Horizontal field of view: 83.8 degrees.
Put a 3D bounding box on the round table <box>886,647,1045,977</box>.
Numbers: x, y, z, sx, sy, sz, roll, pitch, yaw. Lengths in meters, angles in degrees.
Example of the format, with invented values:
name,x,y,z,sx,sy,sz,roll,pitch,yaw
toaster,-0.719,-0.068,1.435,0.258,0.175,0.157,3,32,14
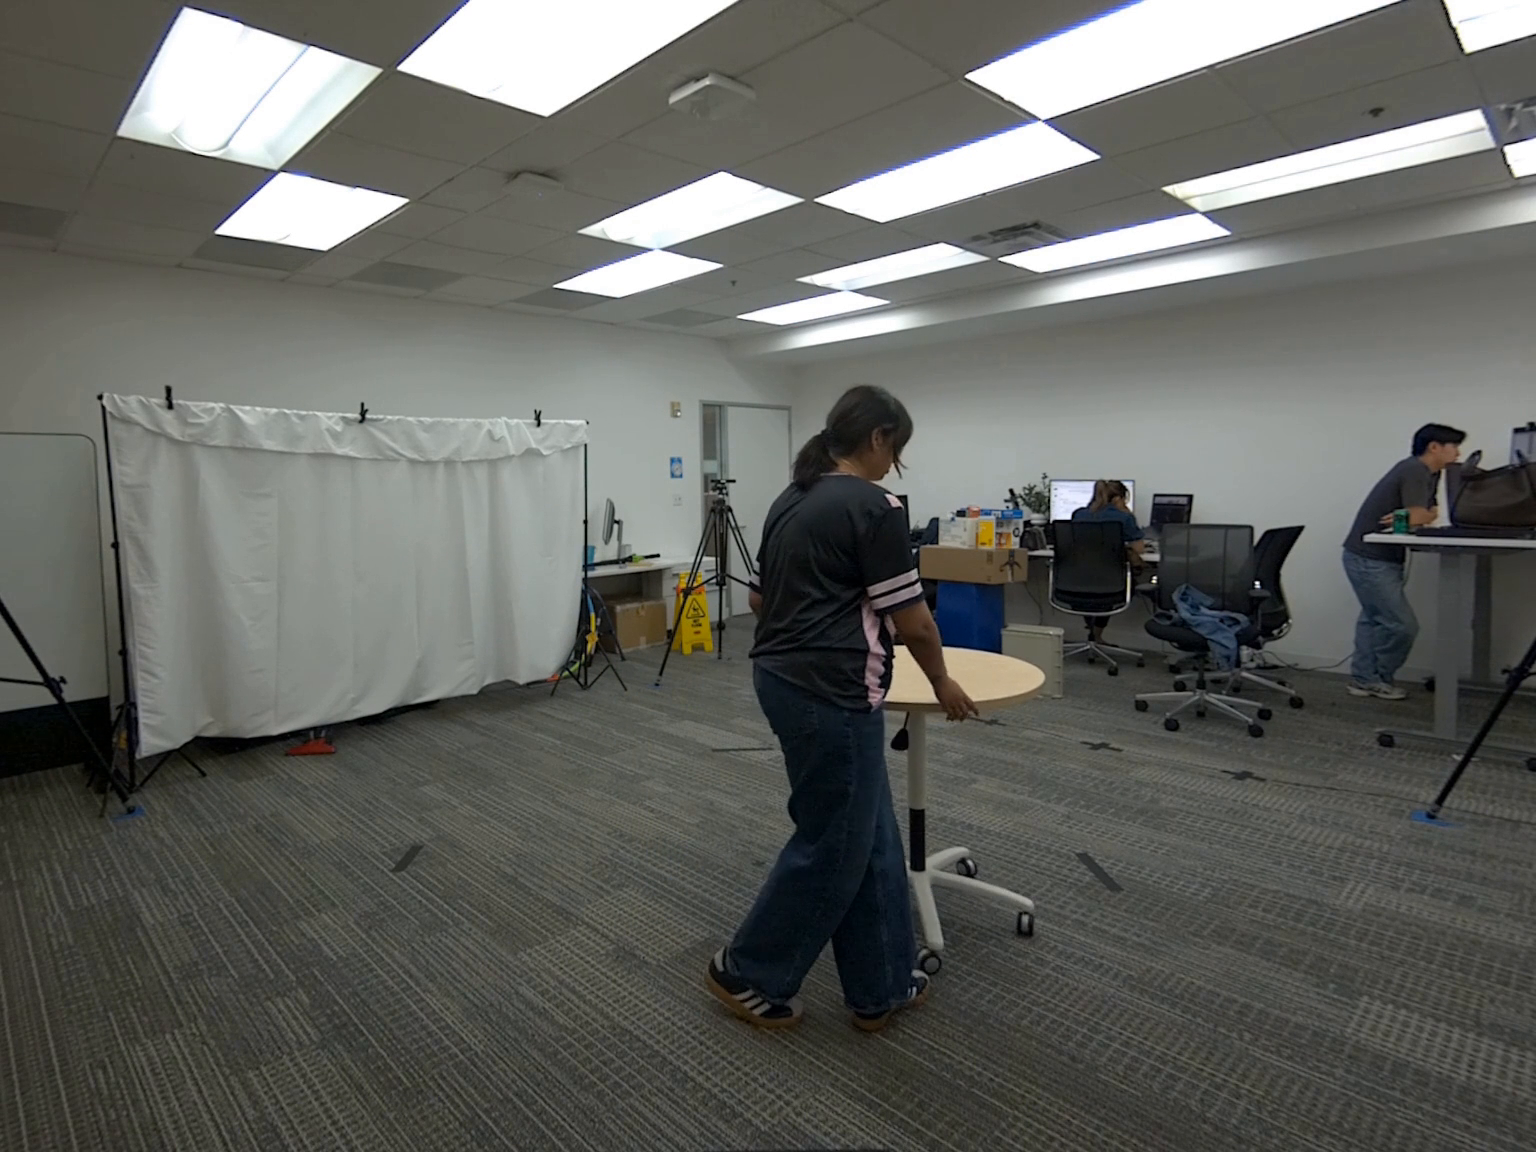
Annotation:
name,x,y,z,sx,sy,sz,roll,pitch,yaw
round table,0.495,0.688,2.731,0.784,0.783,0.790,-1,6,-2
